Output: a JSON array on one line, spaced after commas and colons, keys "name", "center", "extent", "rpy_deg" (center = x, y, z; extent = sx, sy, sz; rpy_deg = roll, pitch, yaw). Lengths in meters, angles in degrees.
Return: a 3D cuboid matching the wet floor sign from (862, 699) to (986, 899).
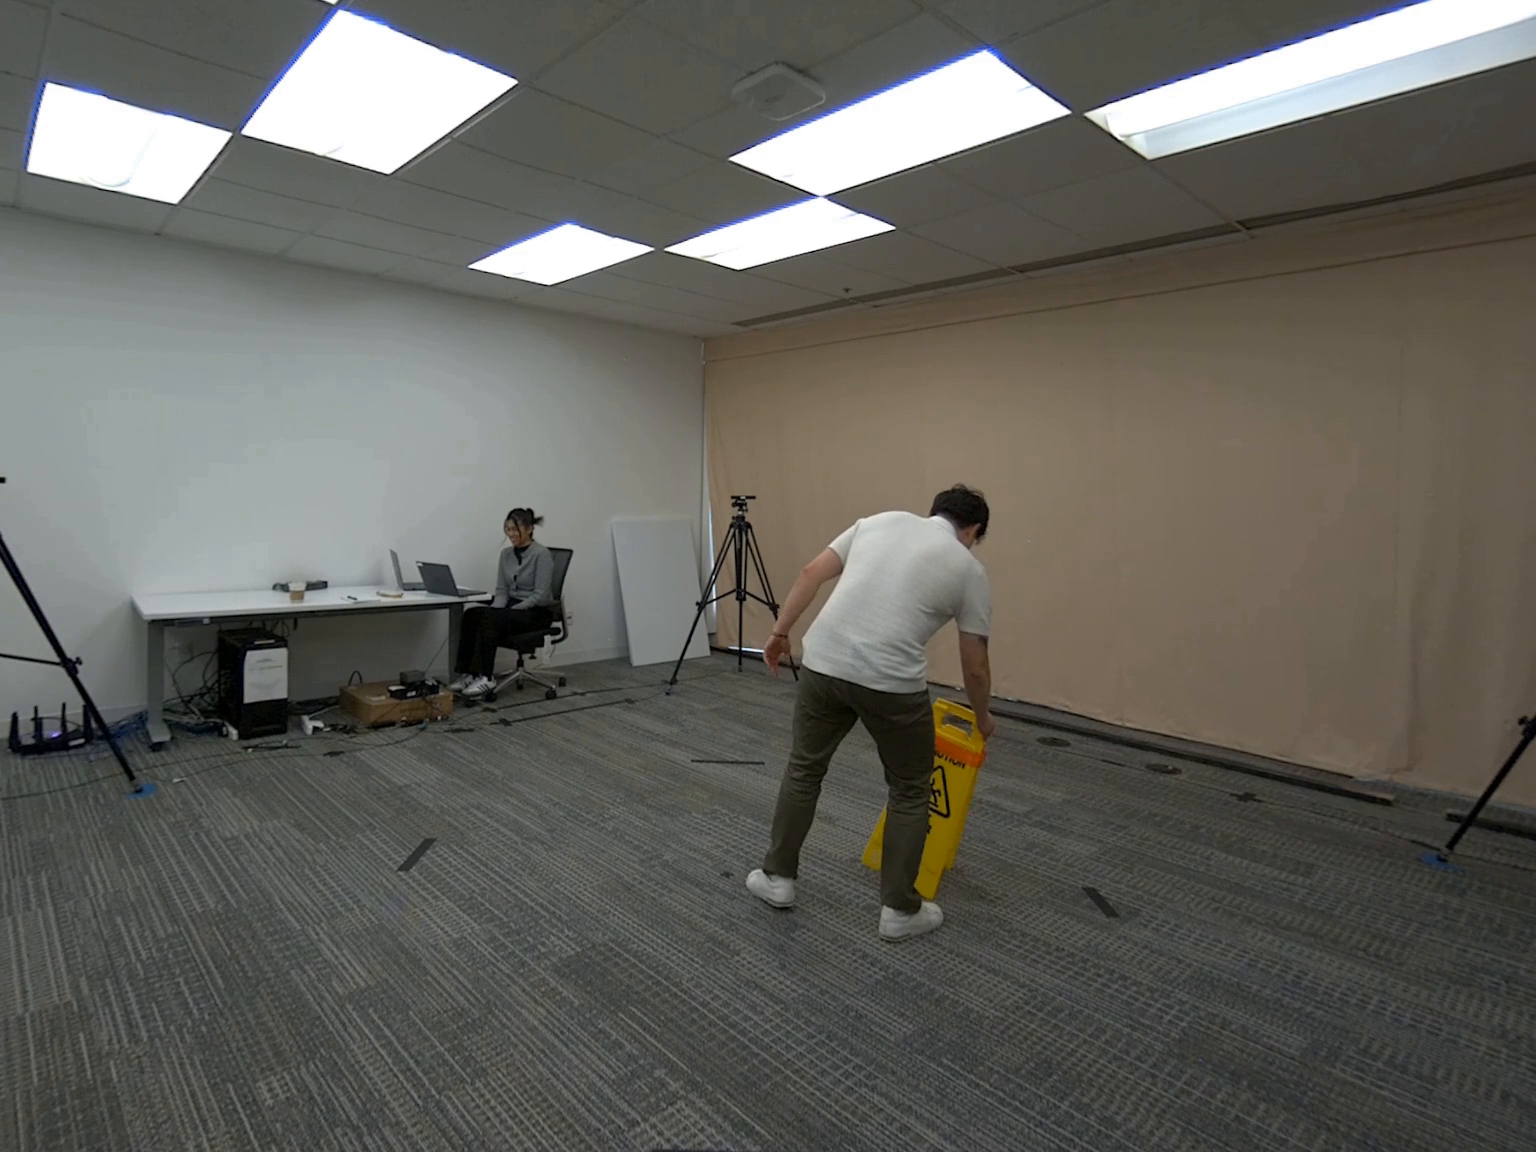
[{"name": "wet floor sign", "center": [0.603, 0.779, 3.084], "extent": [0.289, 0.643, 0.284], "rpy_deg": [22, 11, 24]}]
